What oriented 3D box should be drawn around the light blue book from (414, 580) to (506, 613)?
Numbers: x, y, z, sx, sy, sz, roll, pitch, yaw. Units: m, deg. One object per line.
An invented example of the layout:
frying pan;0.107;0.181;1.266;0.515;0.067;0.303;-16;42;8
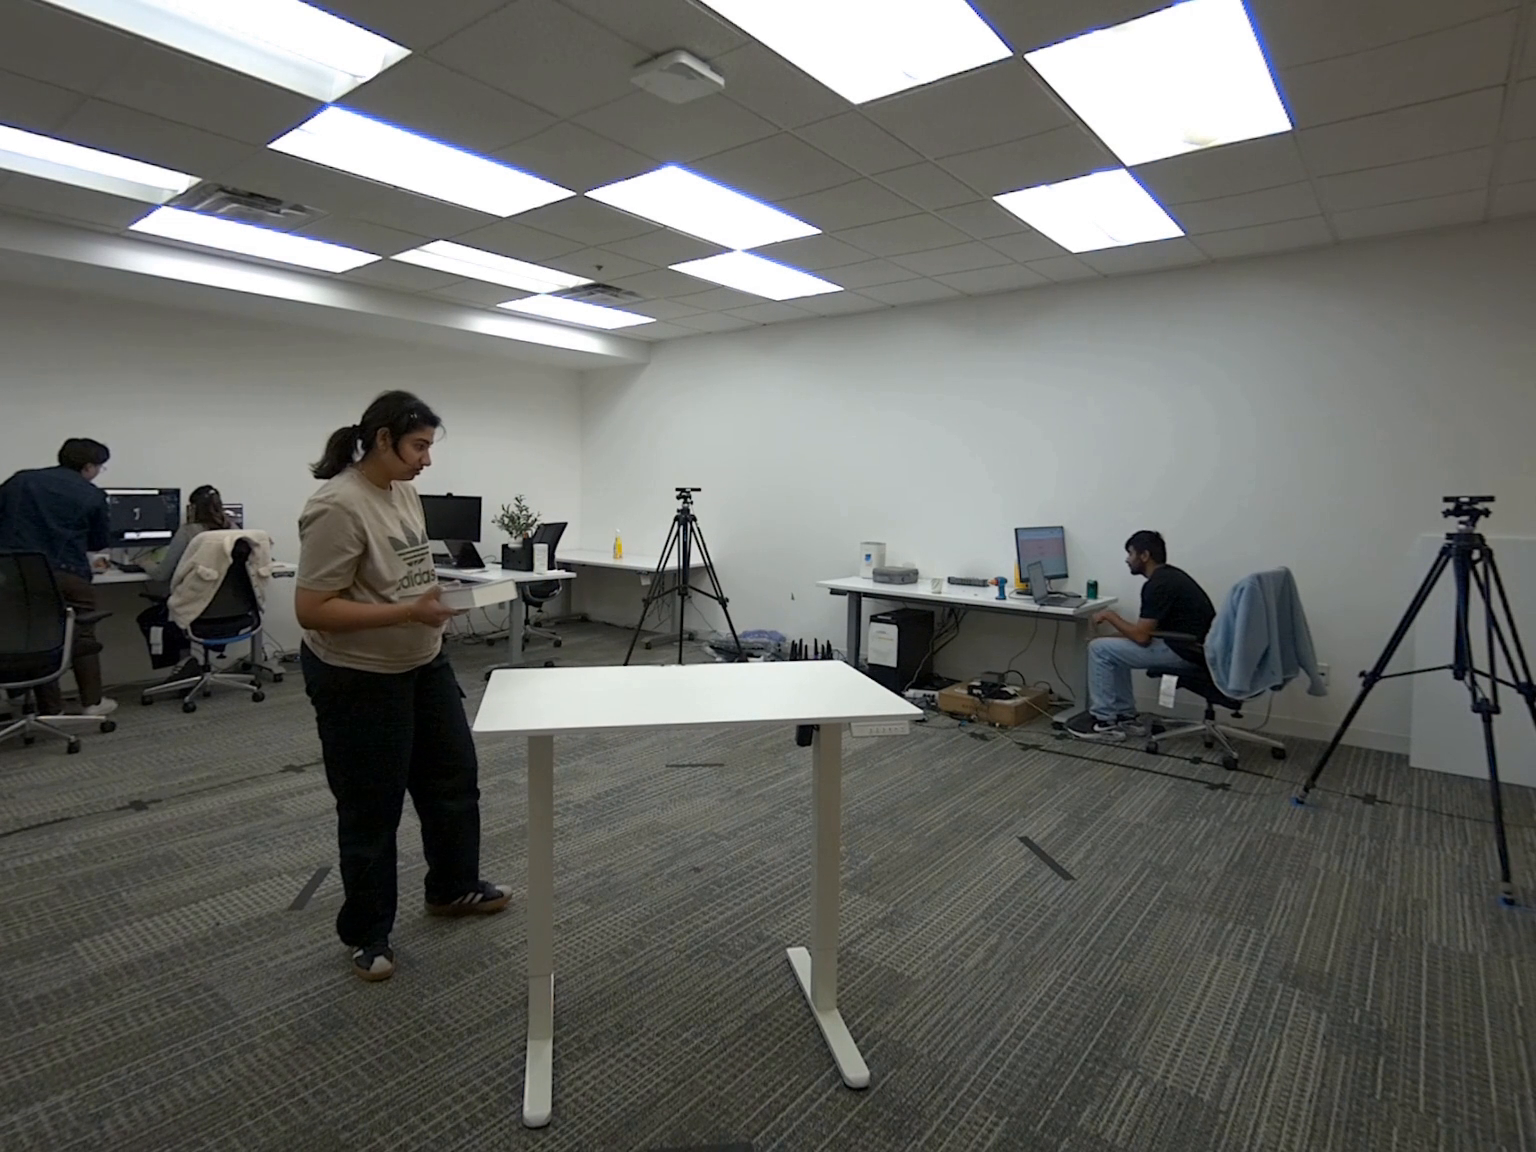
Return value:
light blue book;-0.896;0.058;2.354;0.186;0.059;0.268;-10;5;-34
